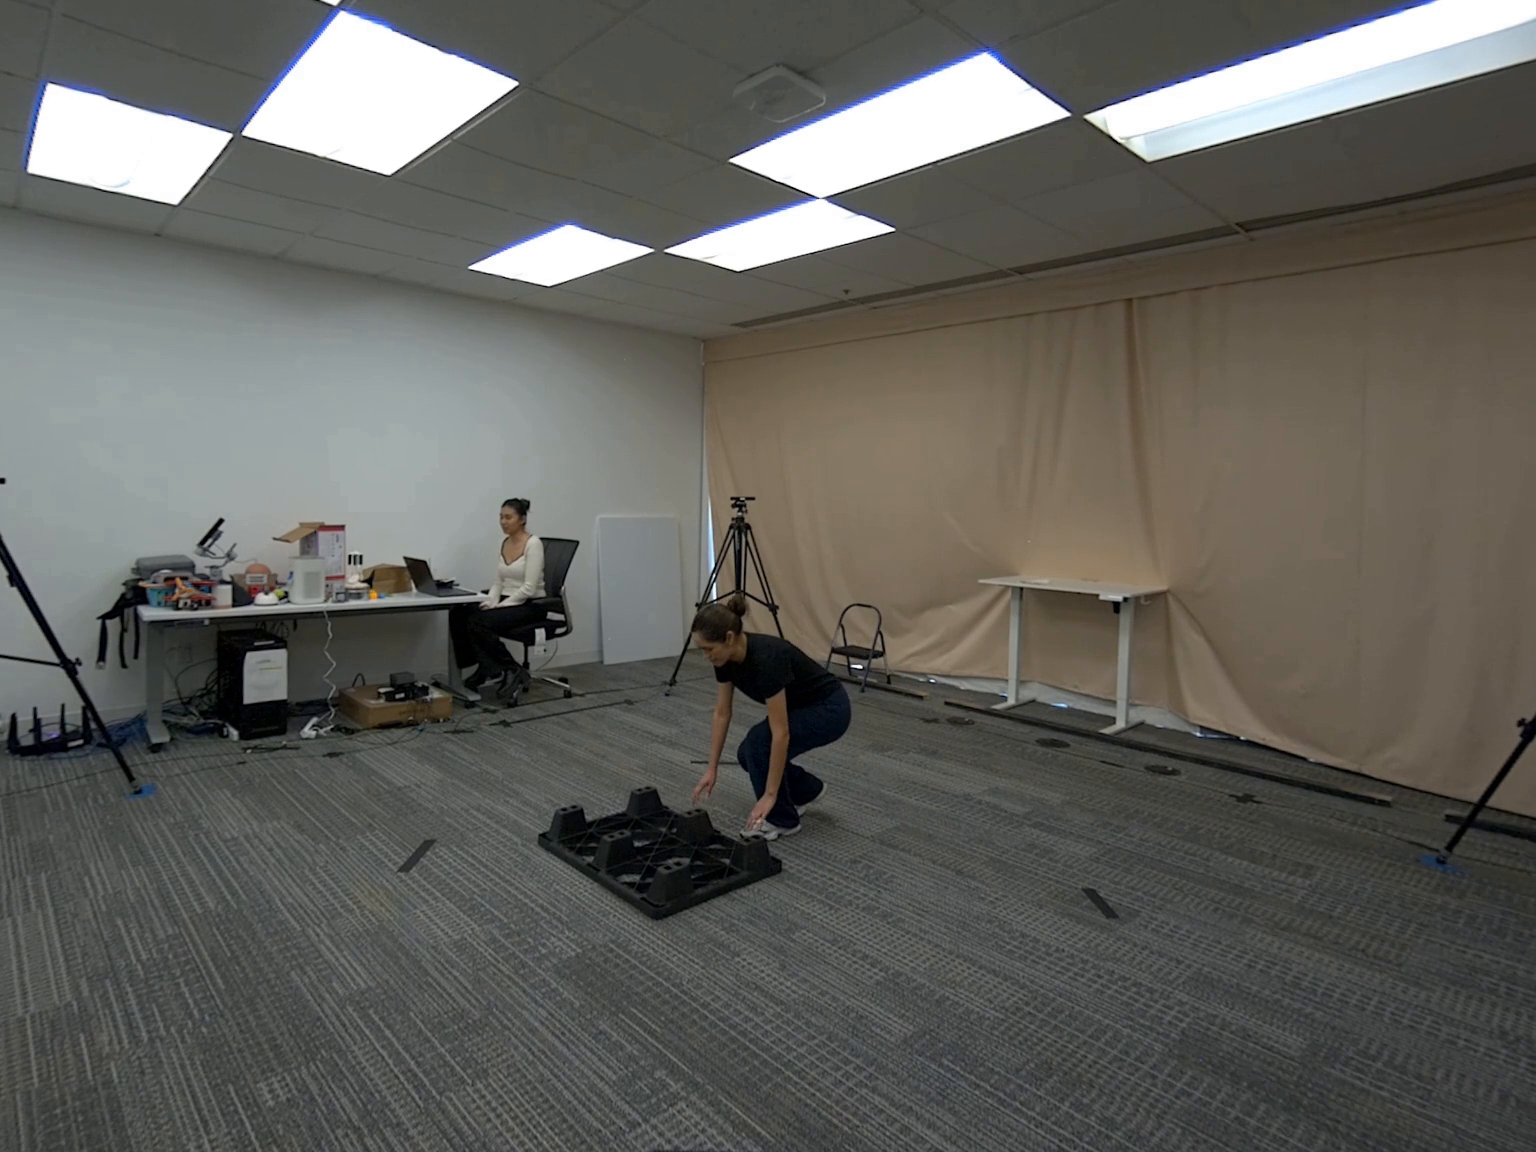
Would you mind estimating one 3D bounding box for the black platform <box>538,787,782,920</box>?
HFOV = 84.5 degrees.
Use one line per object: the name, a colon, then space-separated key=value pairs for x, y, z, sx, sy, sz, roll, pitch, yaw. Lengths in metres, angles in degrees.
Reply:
black platform: x=-0.440 y=1.026 z=3.230 sx=0.591 sy=0.143 sz=0.826 roll=-3 pitch=6 yaw=-43
